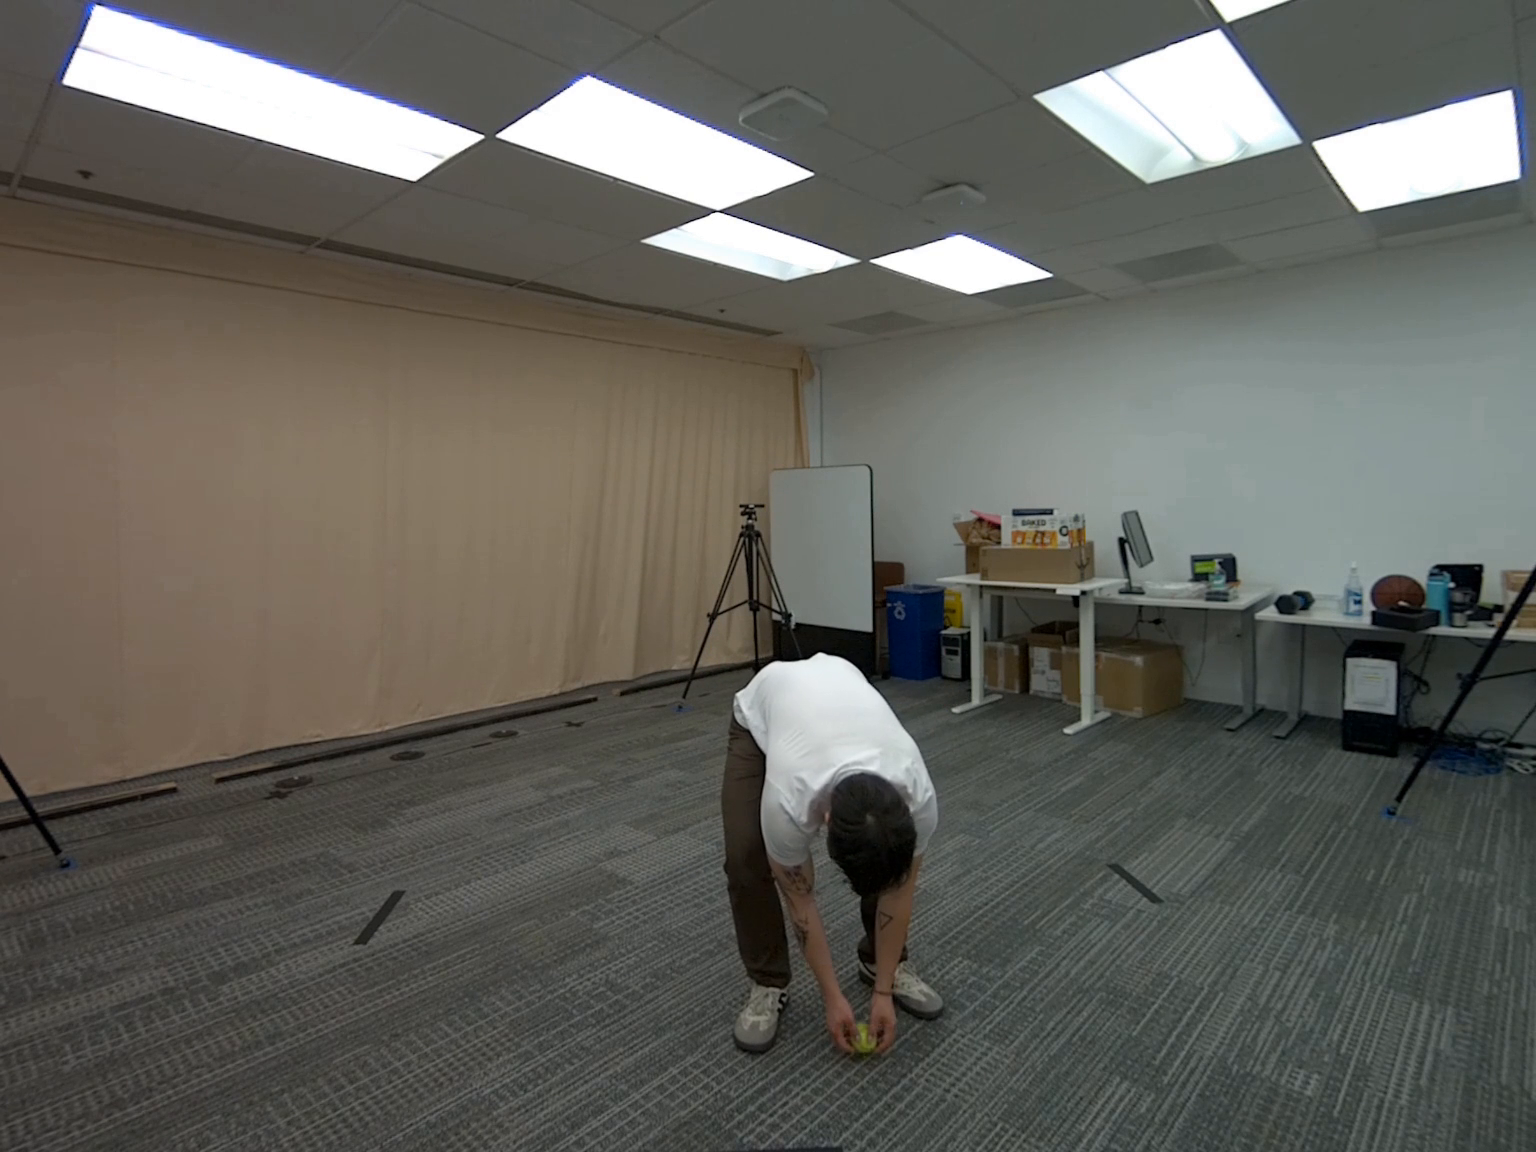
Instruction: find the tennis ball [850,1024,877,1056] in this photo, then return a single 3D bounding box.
[{"bbox_3d":[0.245,1.152,2.100,0.066,0.066,0.067,-1,4,-2],"label":"tennis ball"}]
